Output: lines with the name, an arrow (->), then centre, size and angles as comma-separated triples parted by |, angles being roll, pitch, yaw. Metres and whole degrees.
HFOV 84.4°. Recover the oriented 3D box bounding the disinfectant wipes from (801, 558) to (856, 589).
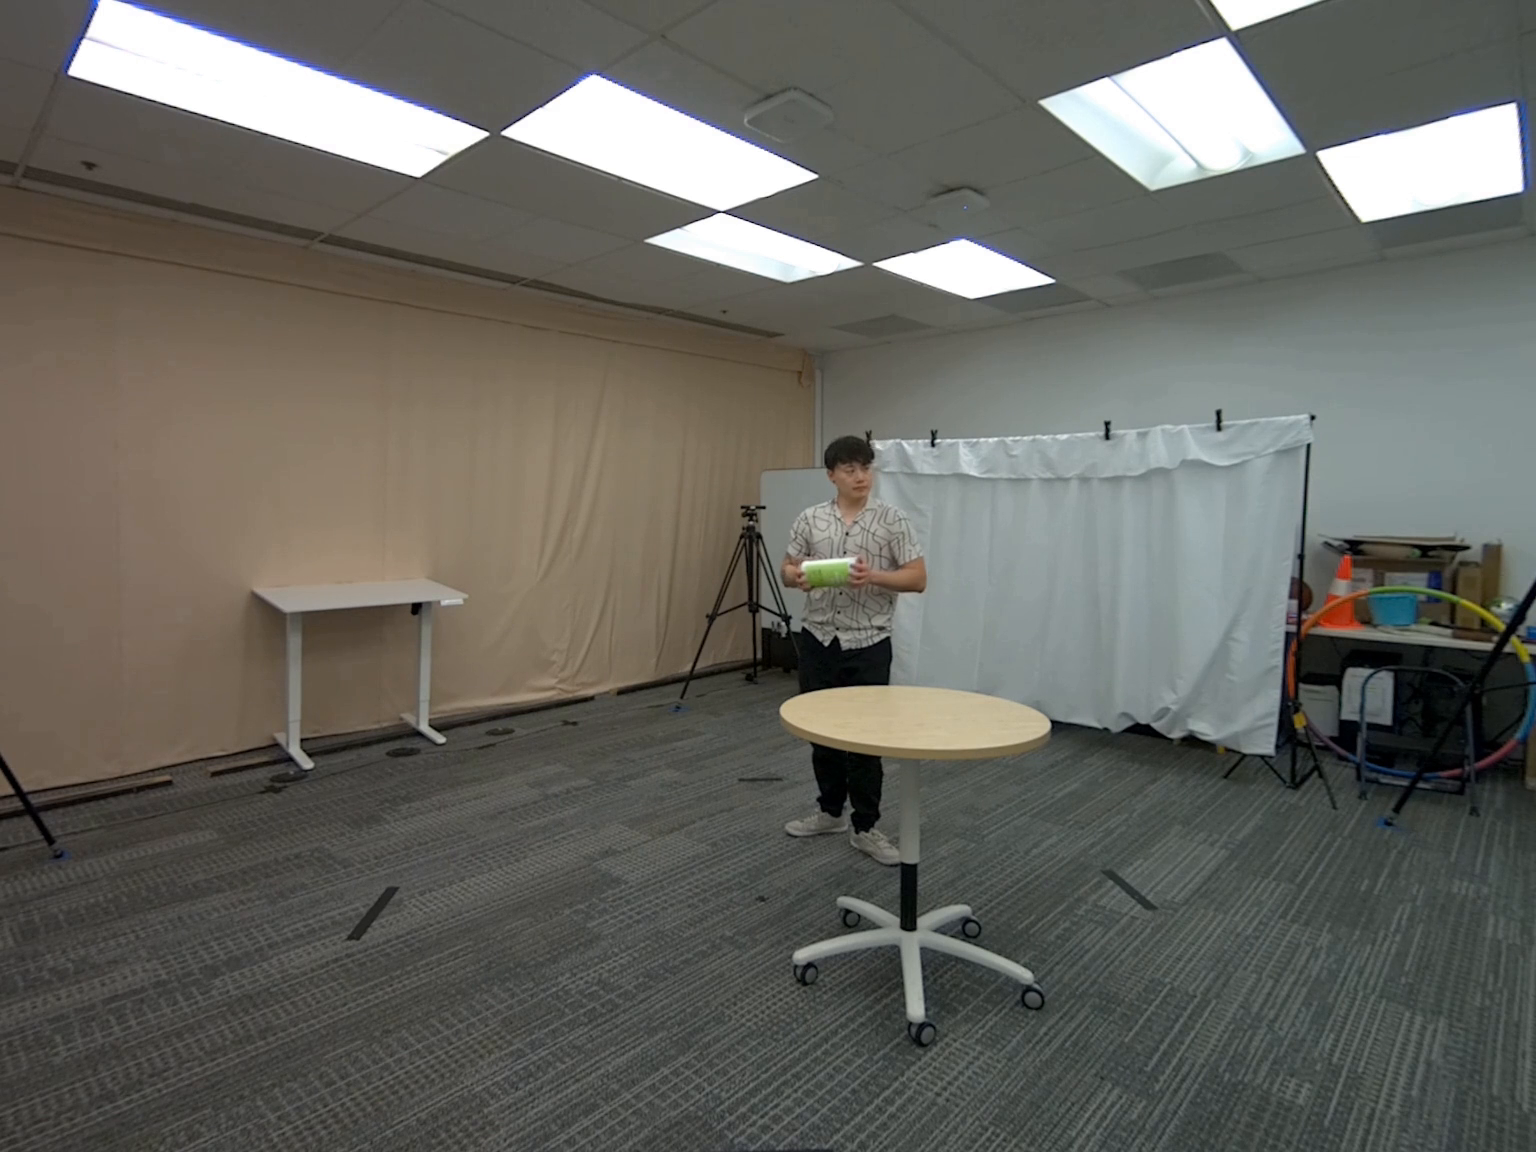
disinfectant wipes -> 0.231, -0.009, 3.244 | 0.221, 0.117, 0.116 | -4, 3, 17
